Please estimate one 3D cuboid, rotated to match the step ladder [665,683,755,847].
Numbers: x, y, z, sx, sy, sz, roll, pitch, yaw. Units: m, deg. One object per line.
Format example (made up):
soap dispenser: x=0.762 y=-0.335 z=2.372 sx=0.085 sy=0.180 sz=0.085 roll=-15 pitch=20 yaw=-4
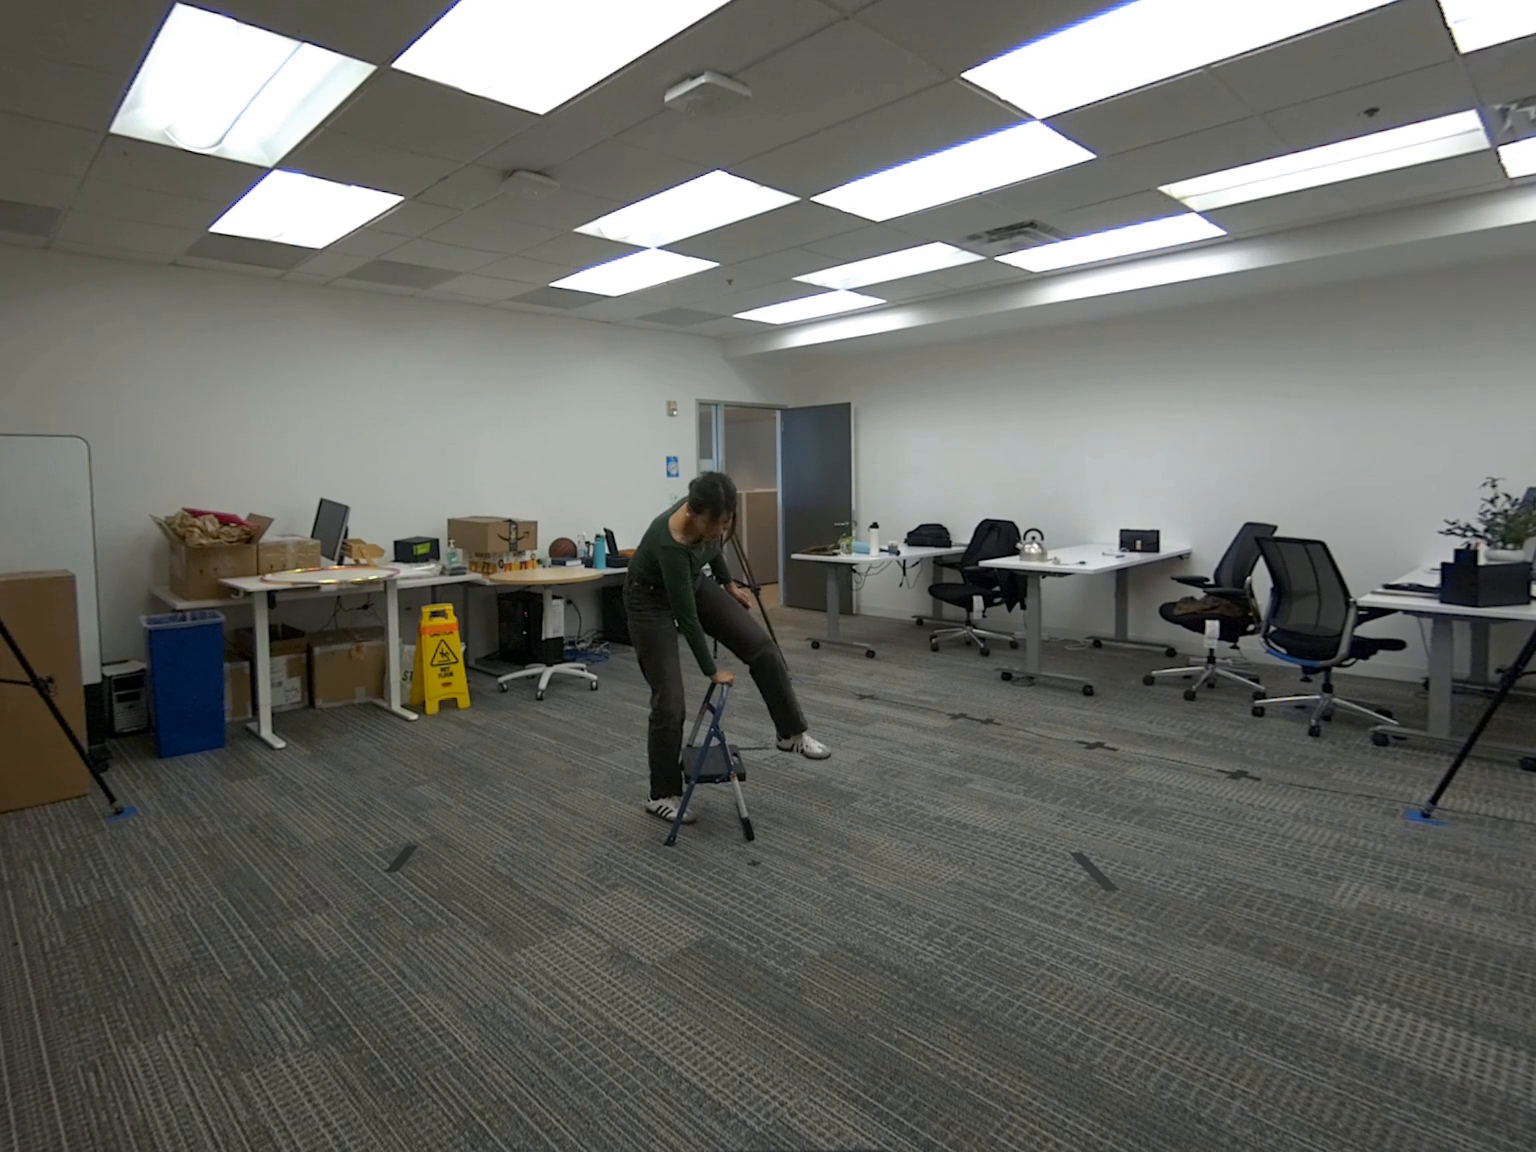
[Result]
step ladder: x=-0.246 y=0.706 z=3.460 sx=0.347 sy=0.604 sz=0.434 roll=0 pitch=3 yaw=-7
